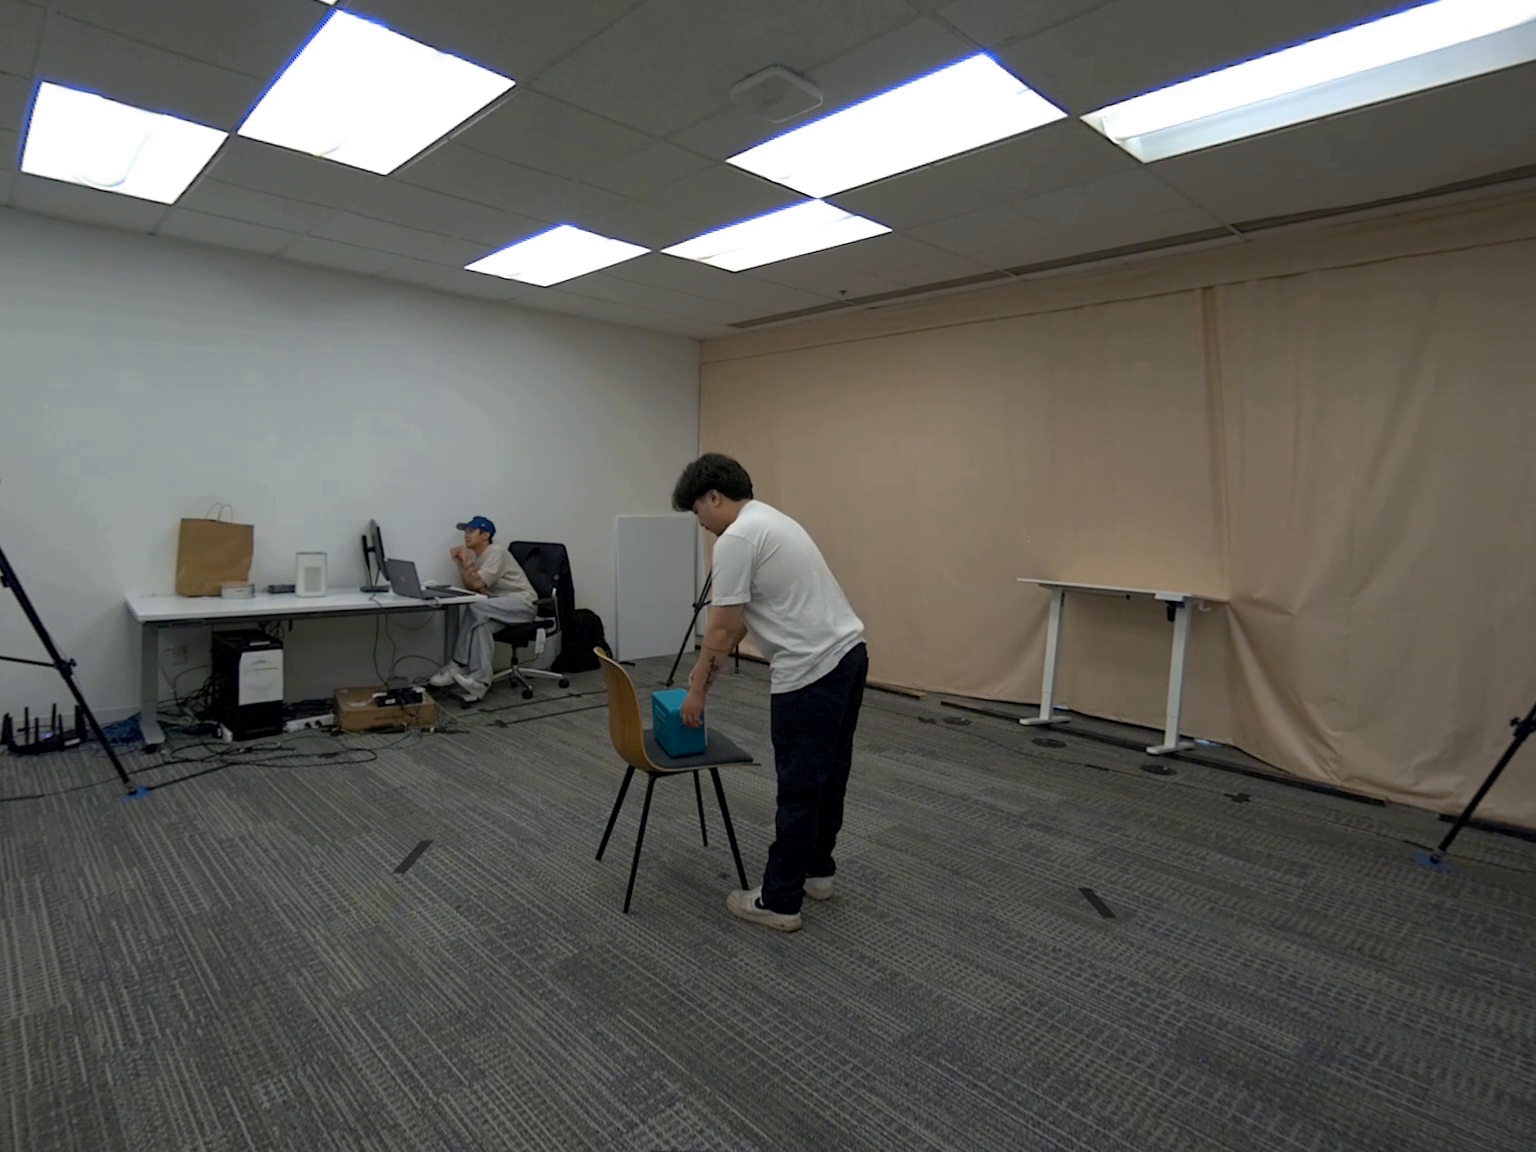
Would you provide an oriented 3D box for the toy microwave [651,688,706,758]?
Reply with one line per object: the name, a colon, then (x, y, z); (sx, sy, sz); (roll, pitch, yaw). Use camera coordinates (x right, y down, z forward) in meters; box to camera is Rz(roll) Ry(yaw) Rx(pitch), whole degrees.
toy microwave: (-0.337, 0.536, 3.077); (0.150, 0.183, 0.291); (-4, 7, -16)
